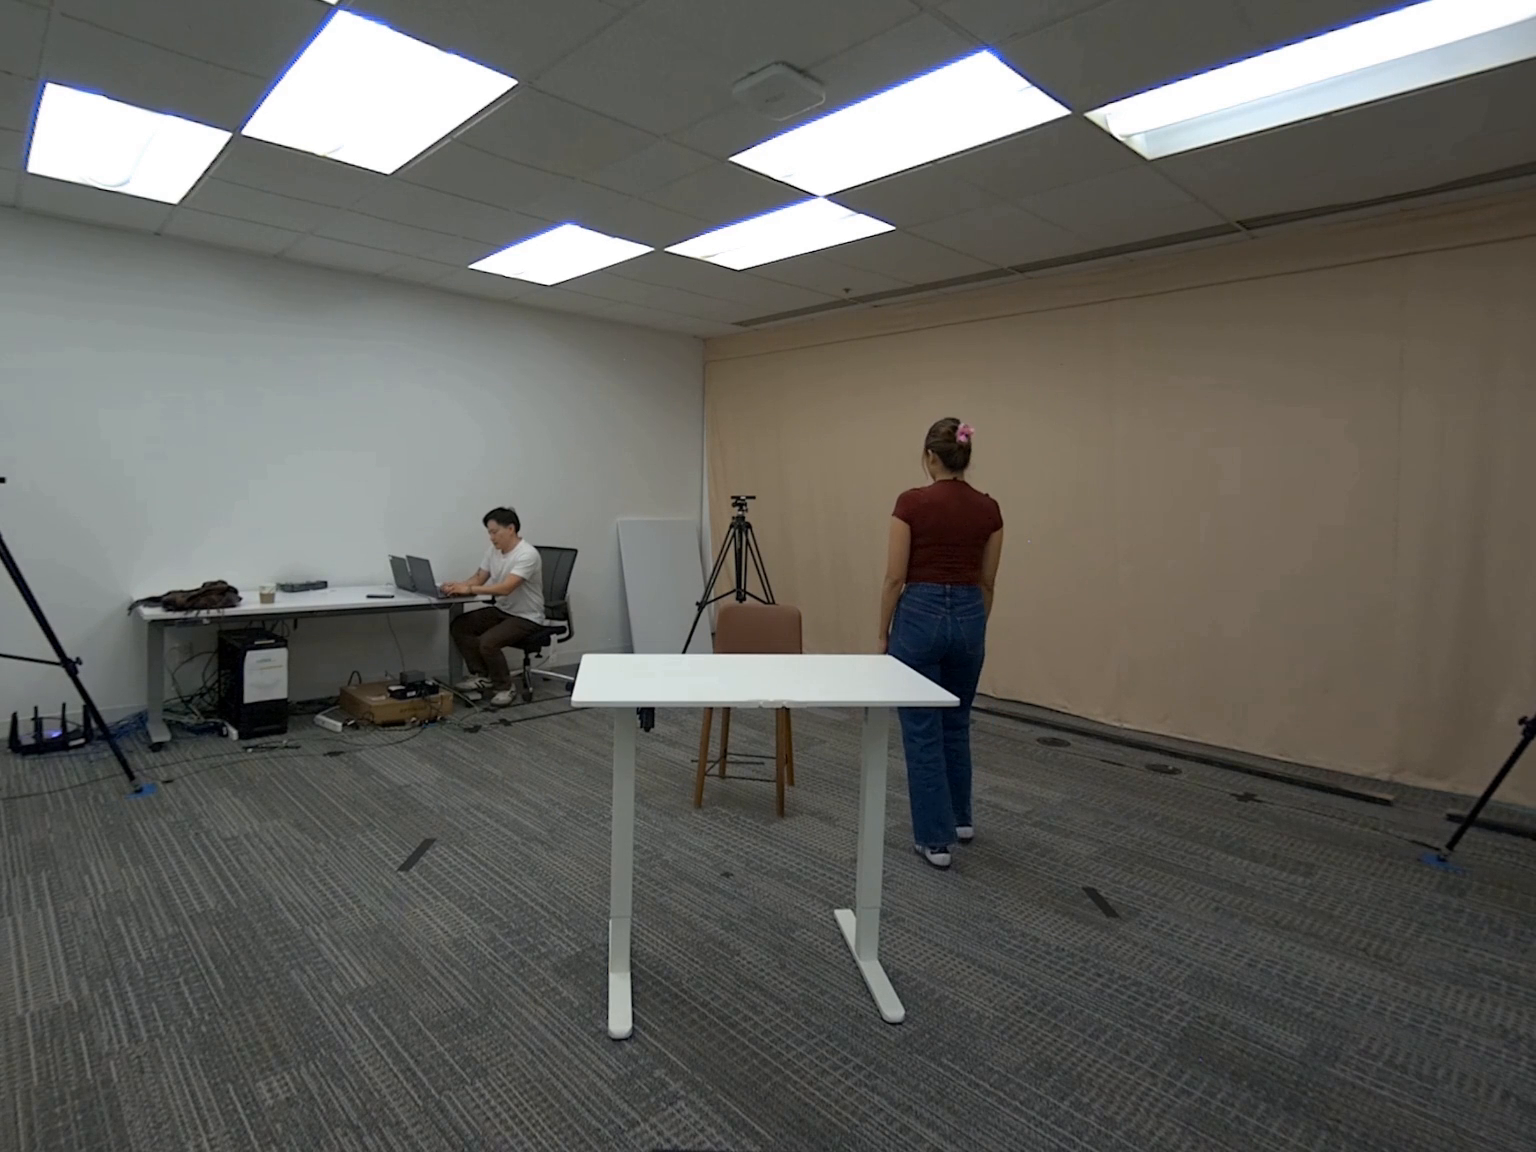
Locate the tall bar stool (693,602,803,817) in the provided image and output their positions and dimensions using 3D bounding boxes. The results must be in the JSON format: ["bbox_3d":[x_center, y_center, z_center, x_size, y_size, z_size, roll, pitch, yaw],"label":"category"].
[{"bbox_3d":[-0.088,0.602,3.930,0.461,0.888,0.463,2,2,12],"label":"tall bar stool"}]
